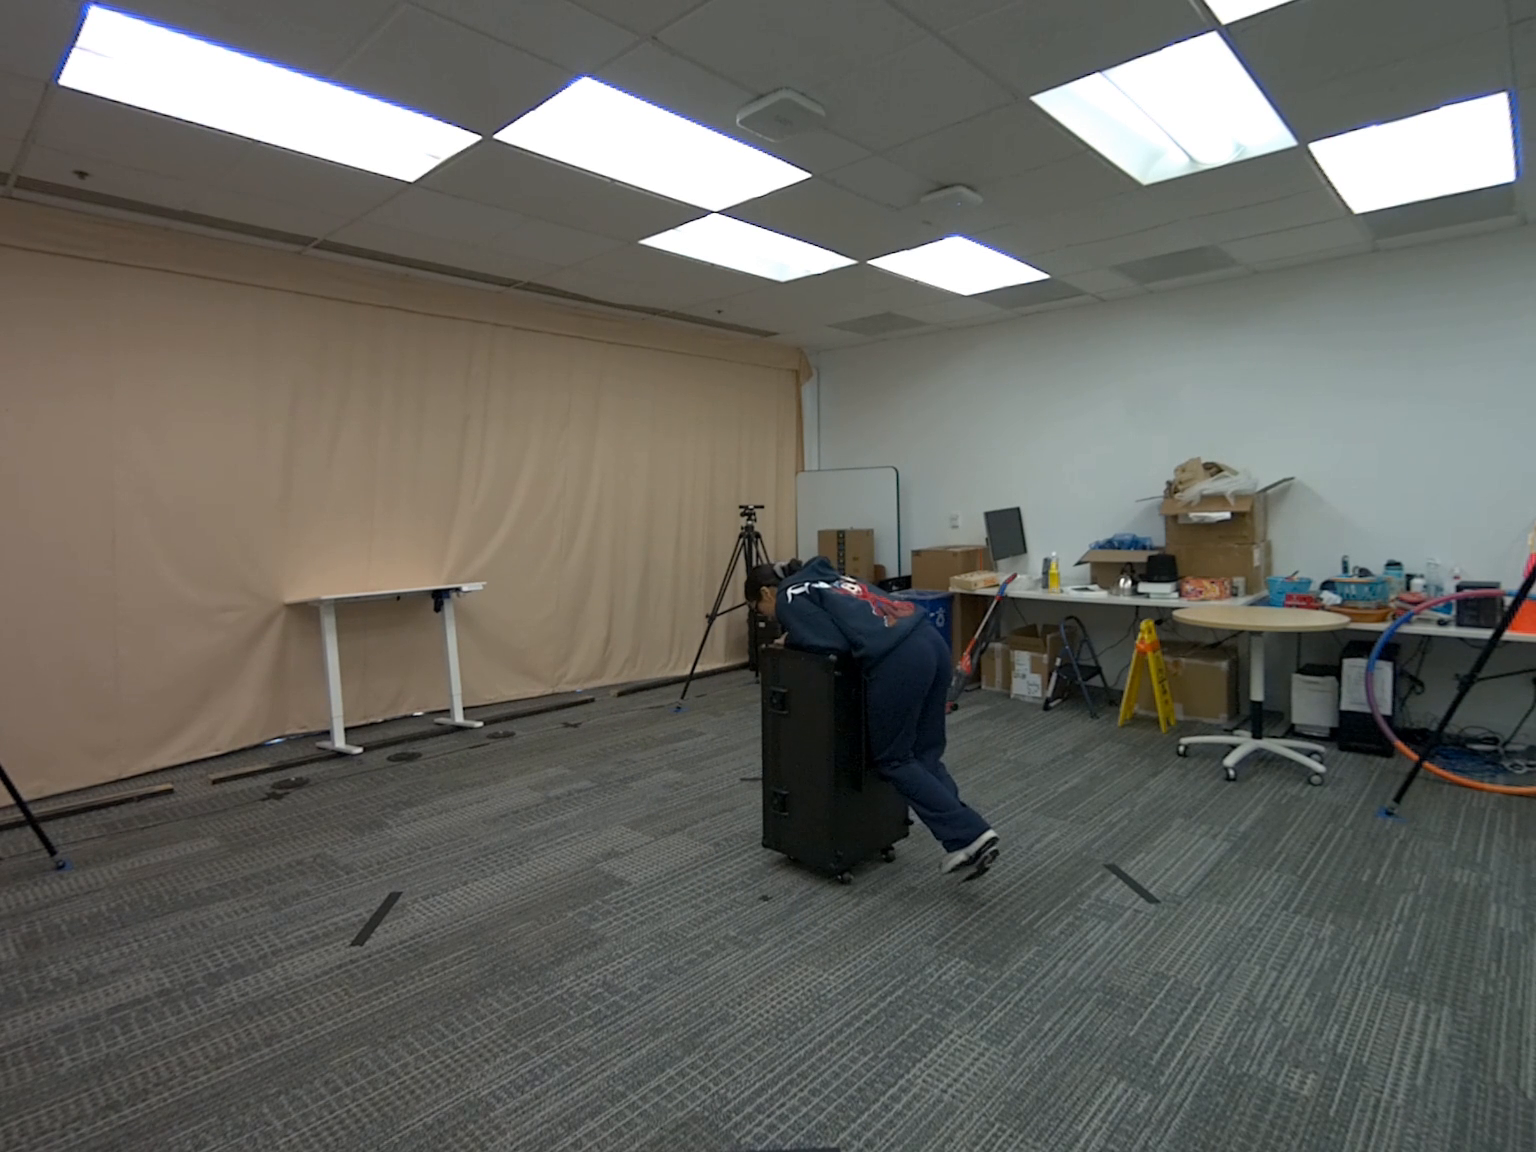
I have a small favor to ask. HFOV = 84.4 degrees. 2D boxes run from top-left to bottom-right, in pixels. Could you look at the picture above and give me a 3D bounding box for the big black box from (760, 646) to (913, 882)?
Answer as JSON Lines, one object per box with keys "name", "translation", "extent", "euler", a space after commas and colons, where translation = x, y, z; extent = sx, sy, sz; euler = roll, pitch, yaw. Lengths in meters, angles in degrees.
{"name": "big black box", "translation": [0.284, 0.687, 3.274], "extent": [0.409, 0.860, 0.505], "euler": [4, 5, 44]}
